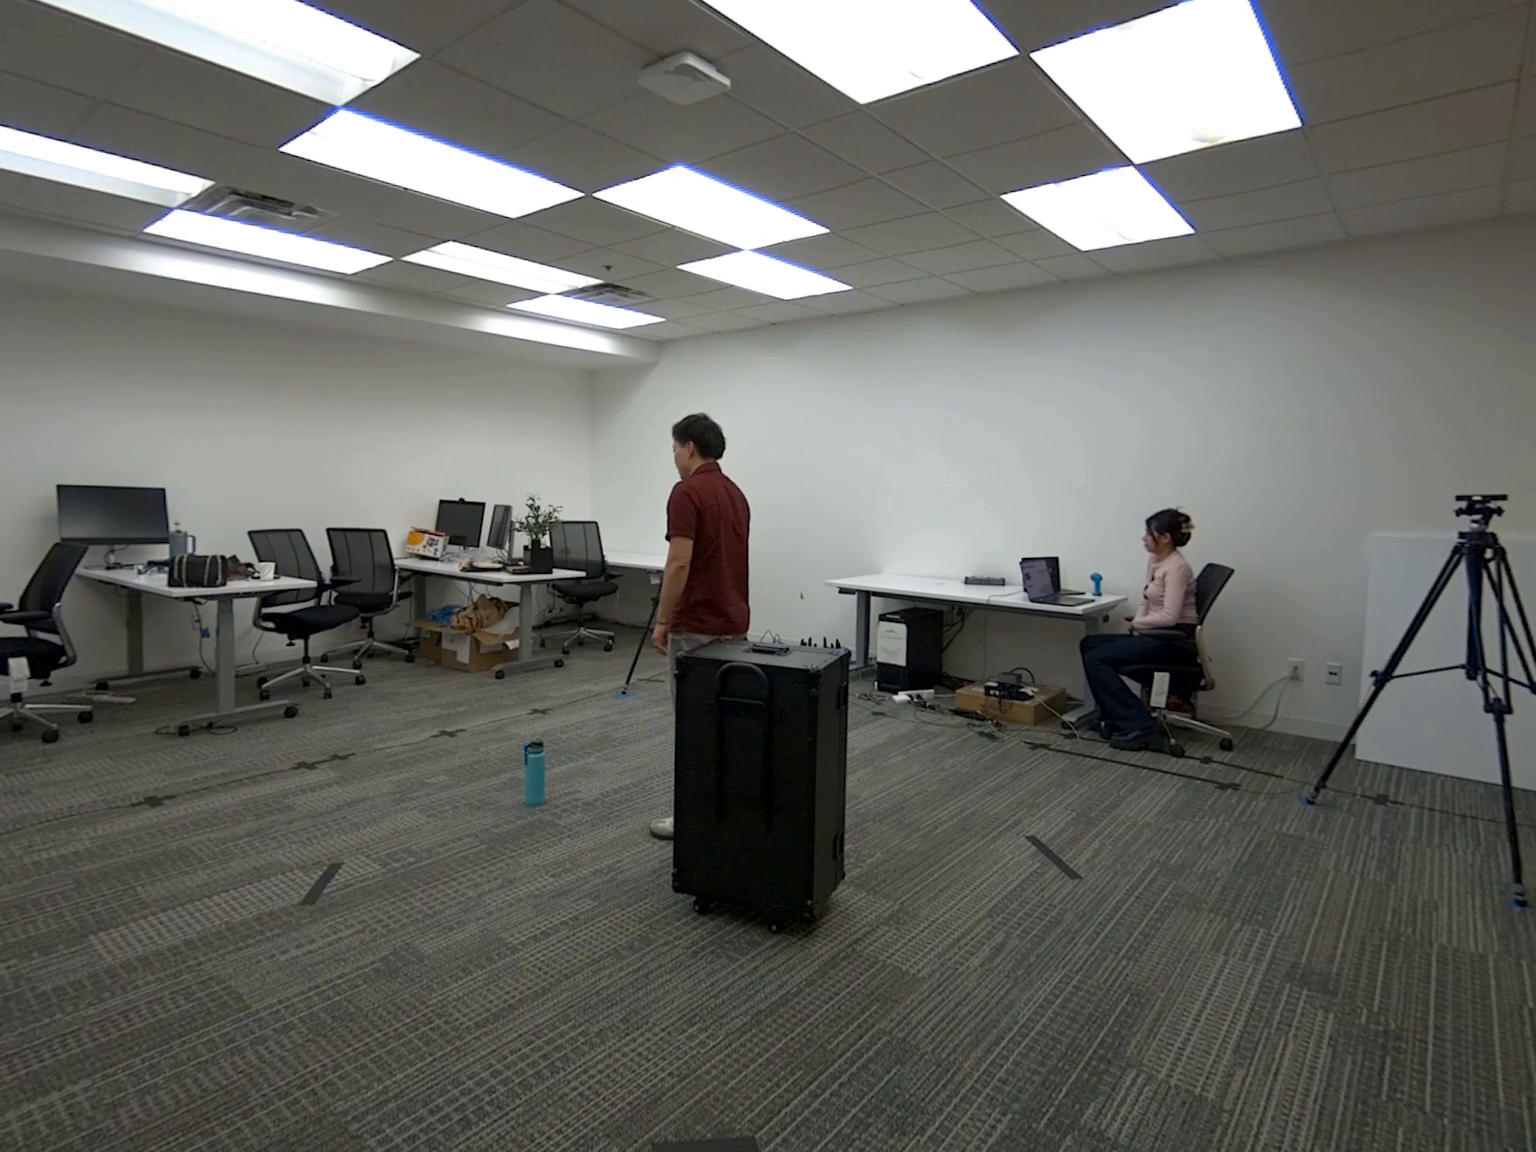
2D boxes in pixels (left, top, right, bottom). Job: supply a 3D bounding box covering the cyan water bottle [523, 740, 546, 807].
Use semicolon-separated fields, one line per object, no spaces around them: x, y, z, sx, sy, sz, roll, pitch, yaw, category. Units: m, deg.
-1.044;0.855;3.740;0.092;0.282;0.093;-1;4;-2;cyan water bottle
